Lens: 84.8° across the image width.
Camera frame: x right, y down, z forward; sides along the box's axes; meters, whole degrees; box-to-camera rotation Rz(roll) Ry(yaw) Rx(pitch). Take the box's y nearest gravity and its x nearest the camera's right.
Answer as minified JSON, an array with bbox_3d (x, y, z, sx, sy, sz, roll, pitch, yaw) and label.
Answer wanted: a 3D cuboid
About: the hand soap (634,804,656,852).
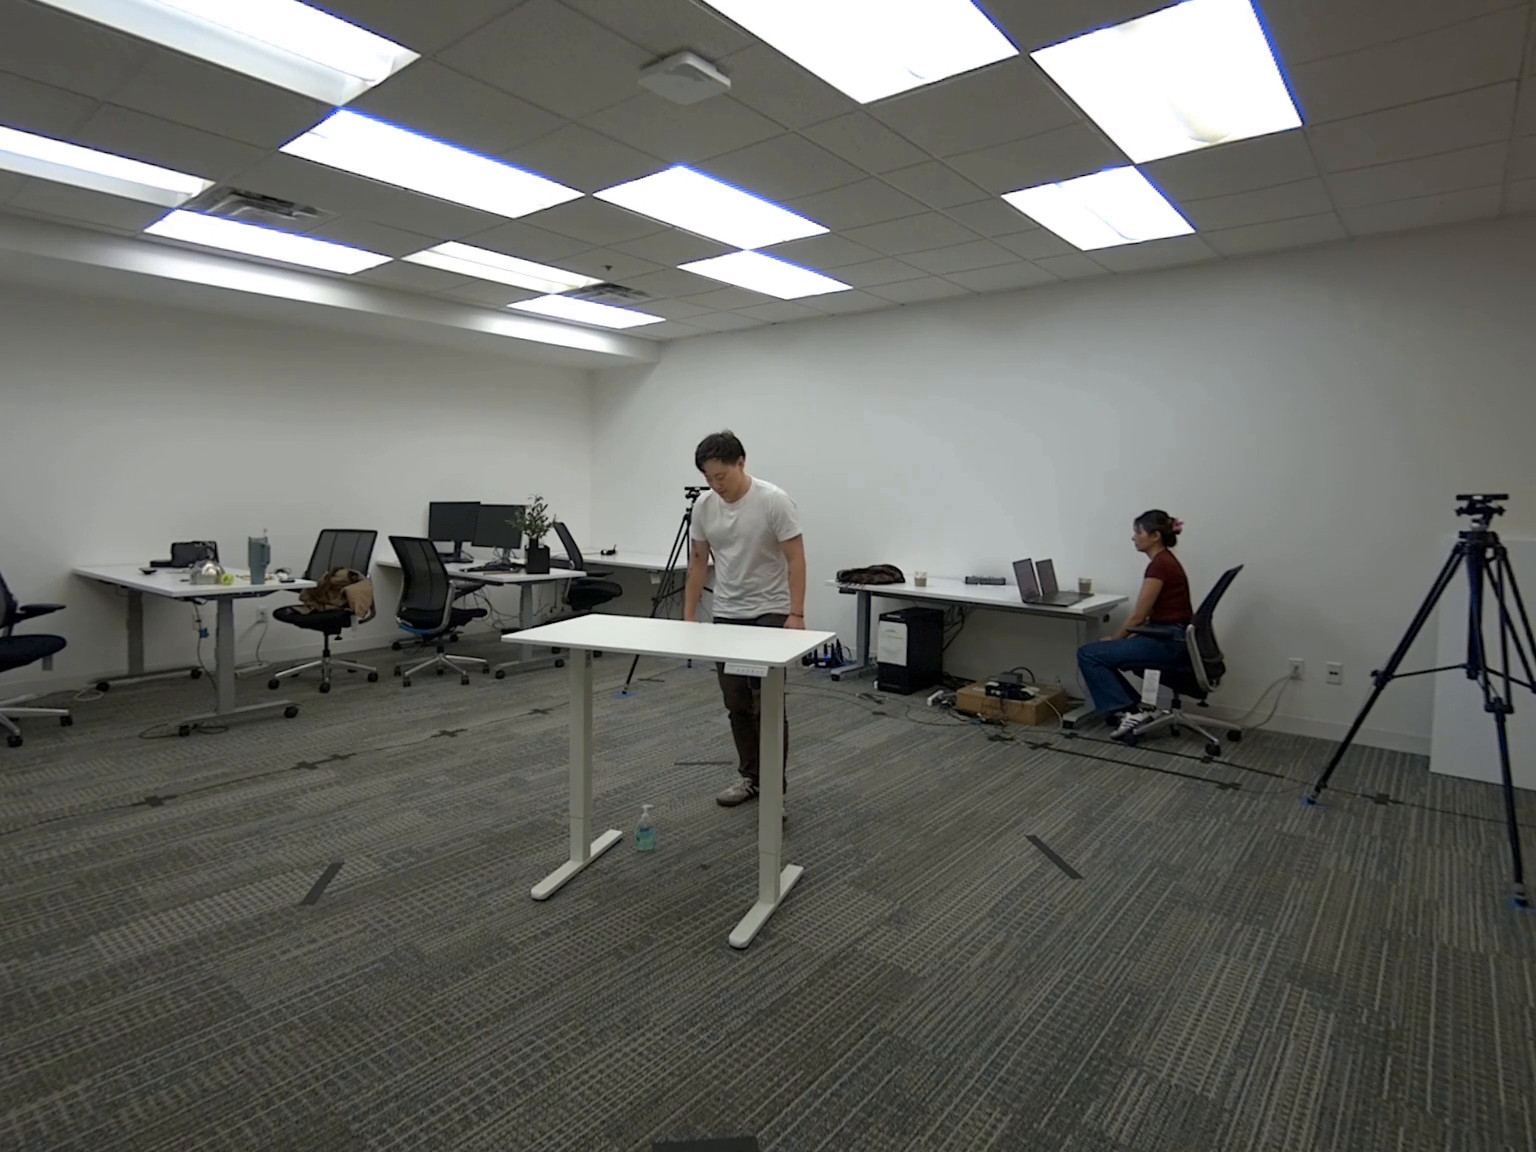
[{"bbox_3d":[-0.481,0.964,3.268,0.084,0.168,0.044,0,2,-10],"label":"hand soap"}]
